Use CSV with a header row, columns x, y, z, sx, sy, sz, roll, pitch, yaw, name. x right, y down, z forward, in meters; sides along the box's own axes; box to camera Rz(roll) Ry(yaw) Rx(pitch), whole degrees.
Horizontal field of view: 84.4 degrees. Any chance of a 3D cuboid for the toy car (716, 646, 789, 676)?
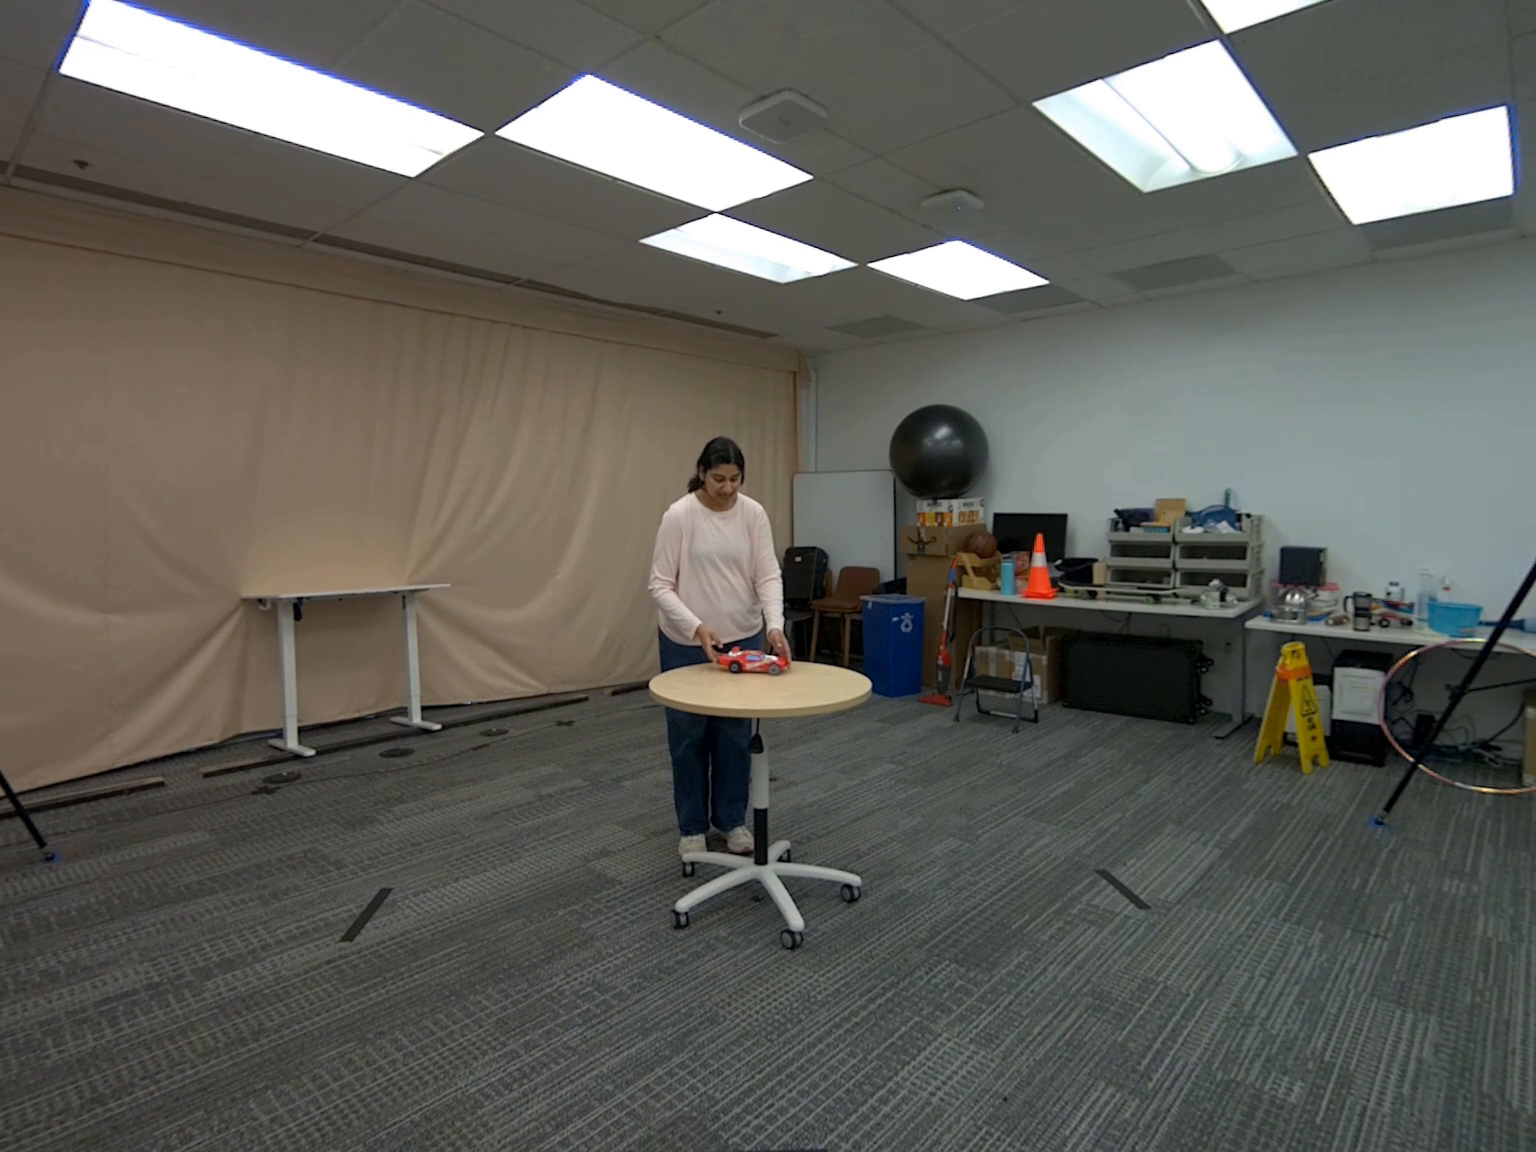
x,y,z,sx,sy,sz,roll,pitch,yaw,name
-0.059,0.320,3.090,0.259,0.083,0.128,11,7,14,toy car
